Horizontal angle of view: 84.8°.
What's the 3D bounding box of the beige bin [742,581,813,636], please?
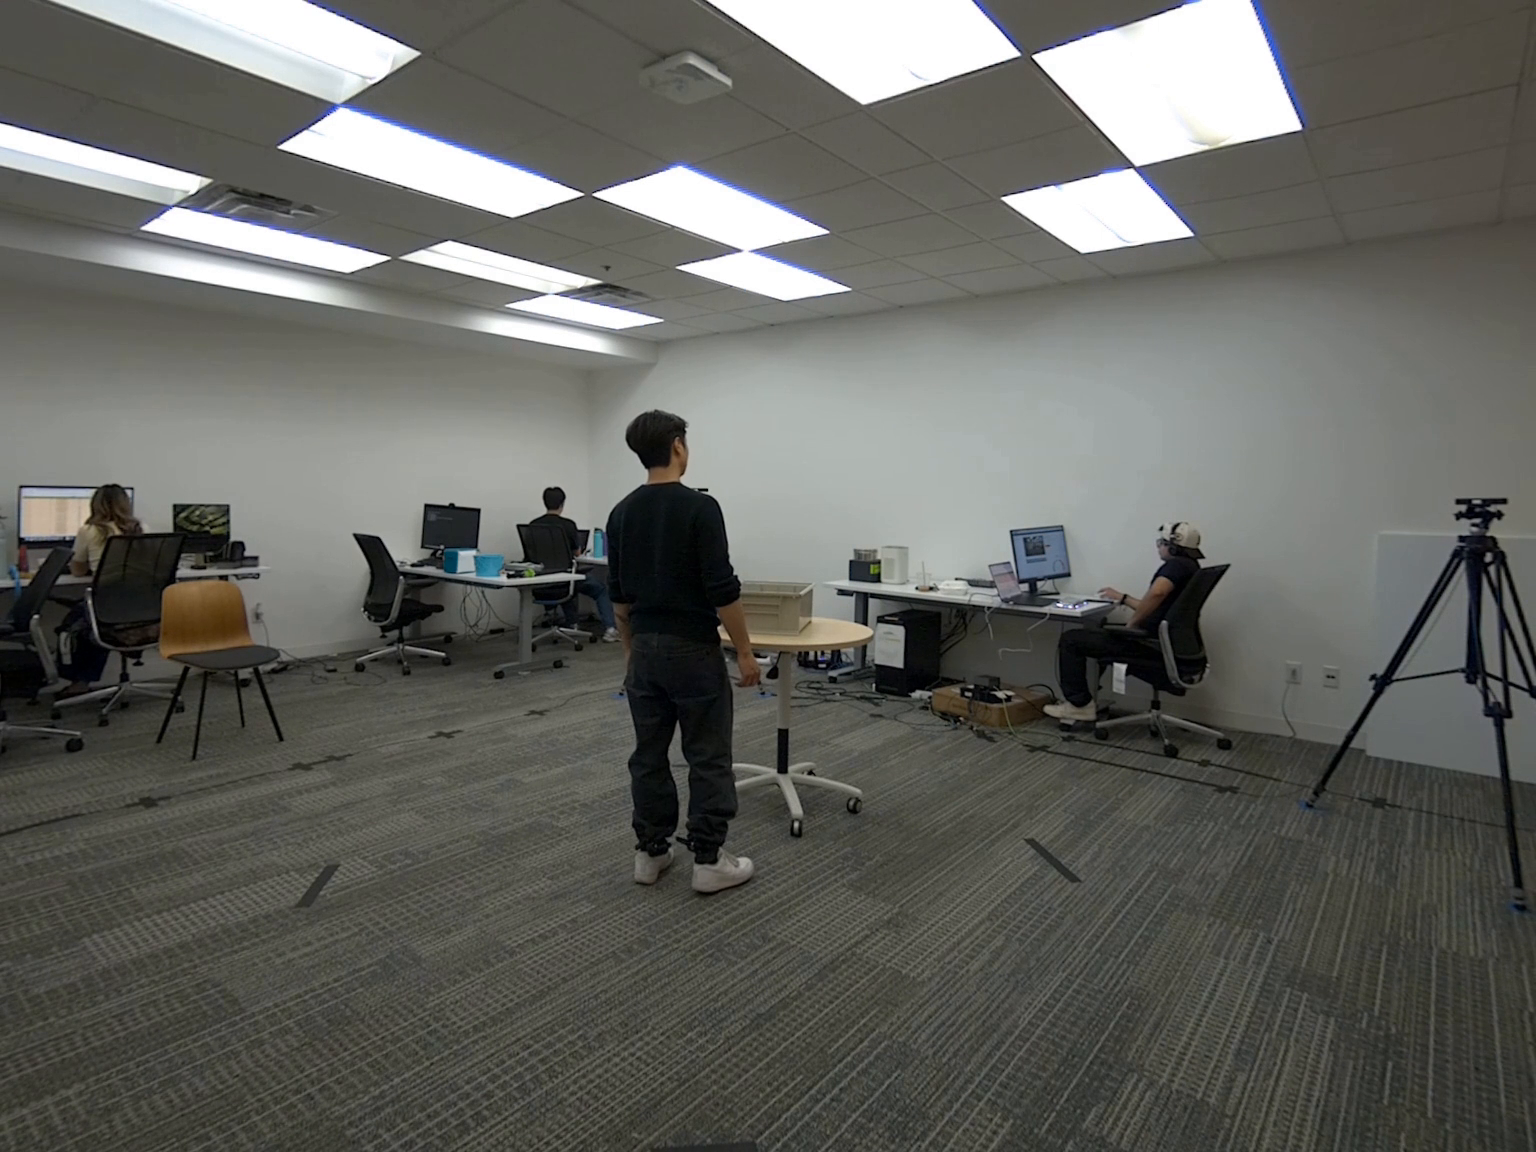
[{"bbox_3d":[-0.012,0.133,3.805,0.383,0.188,0.418,3,6,13],"label":"beige bin"}]
